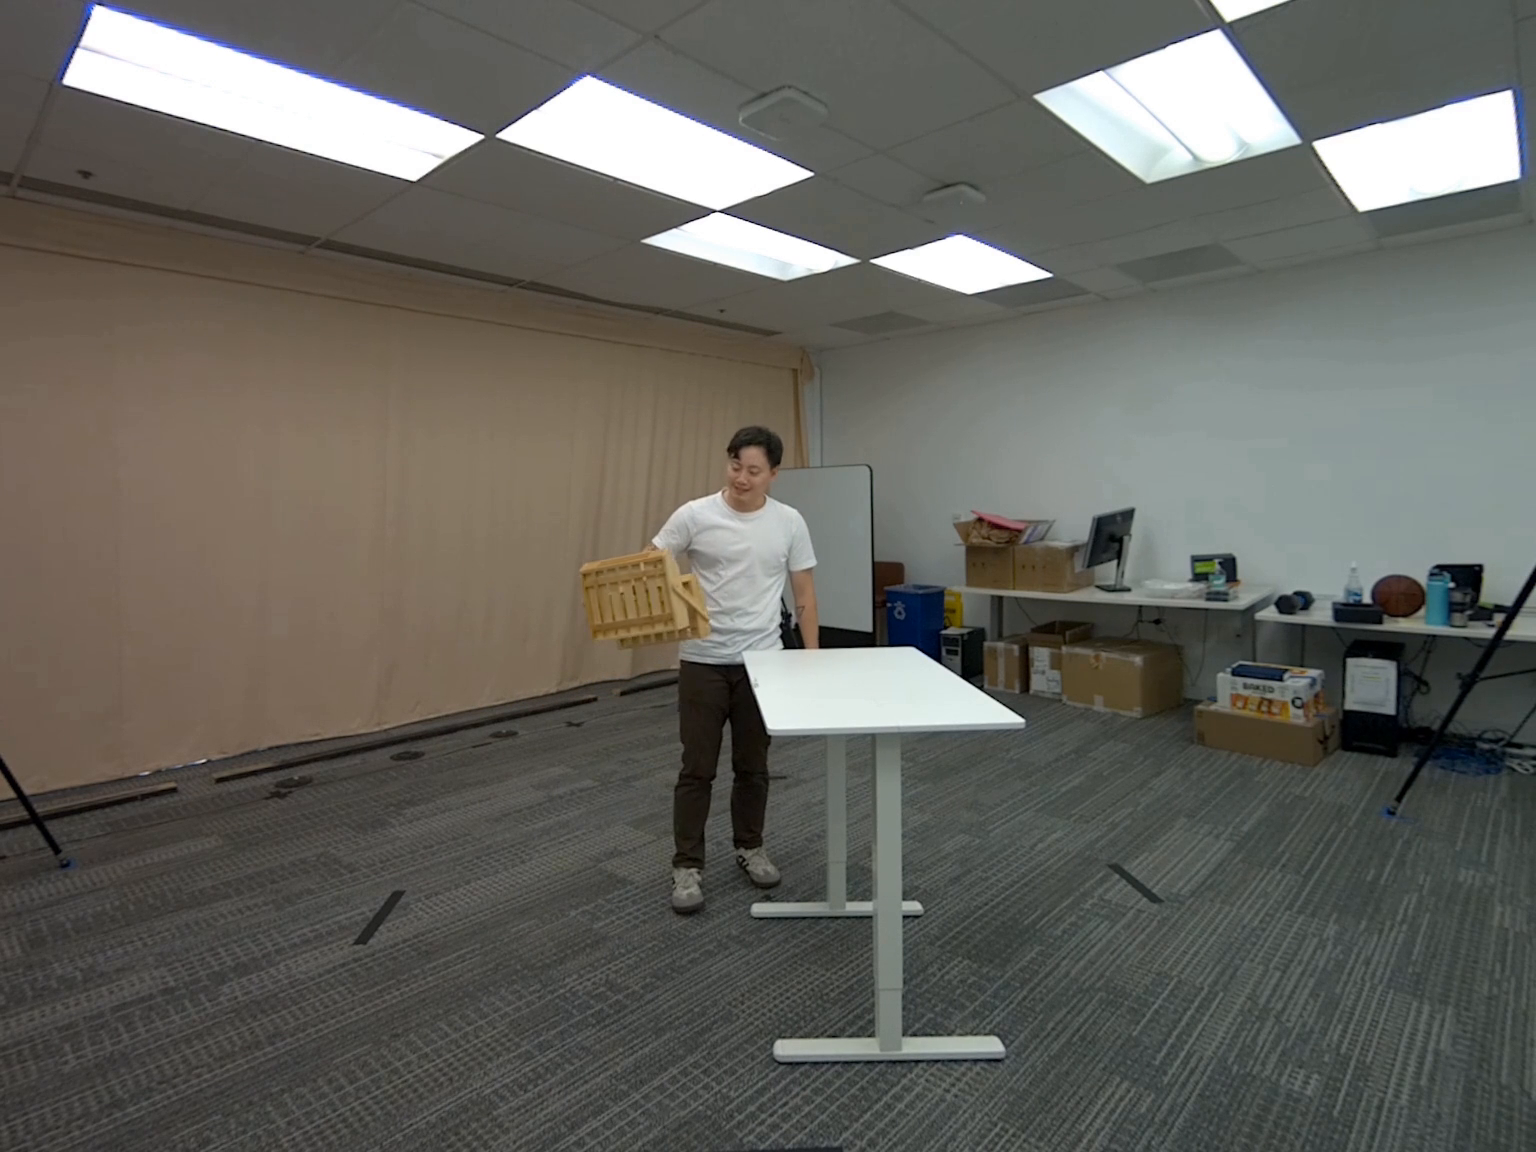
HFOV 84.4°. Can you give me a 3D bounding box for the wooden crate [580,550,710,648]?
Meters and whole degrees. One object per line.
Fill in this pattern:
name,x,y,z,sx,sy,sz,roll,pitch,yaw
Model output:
wooden crate,-0.390,0.081,2.718,0.330,0.302,0.268,-9,0,20
